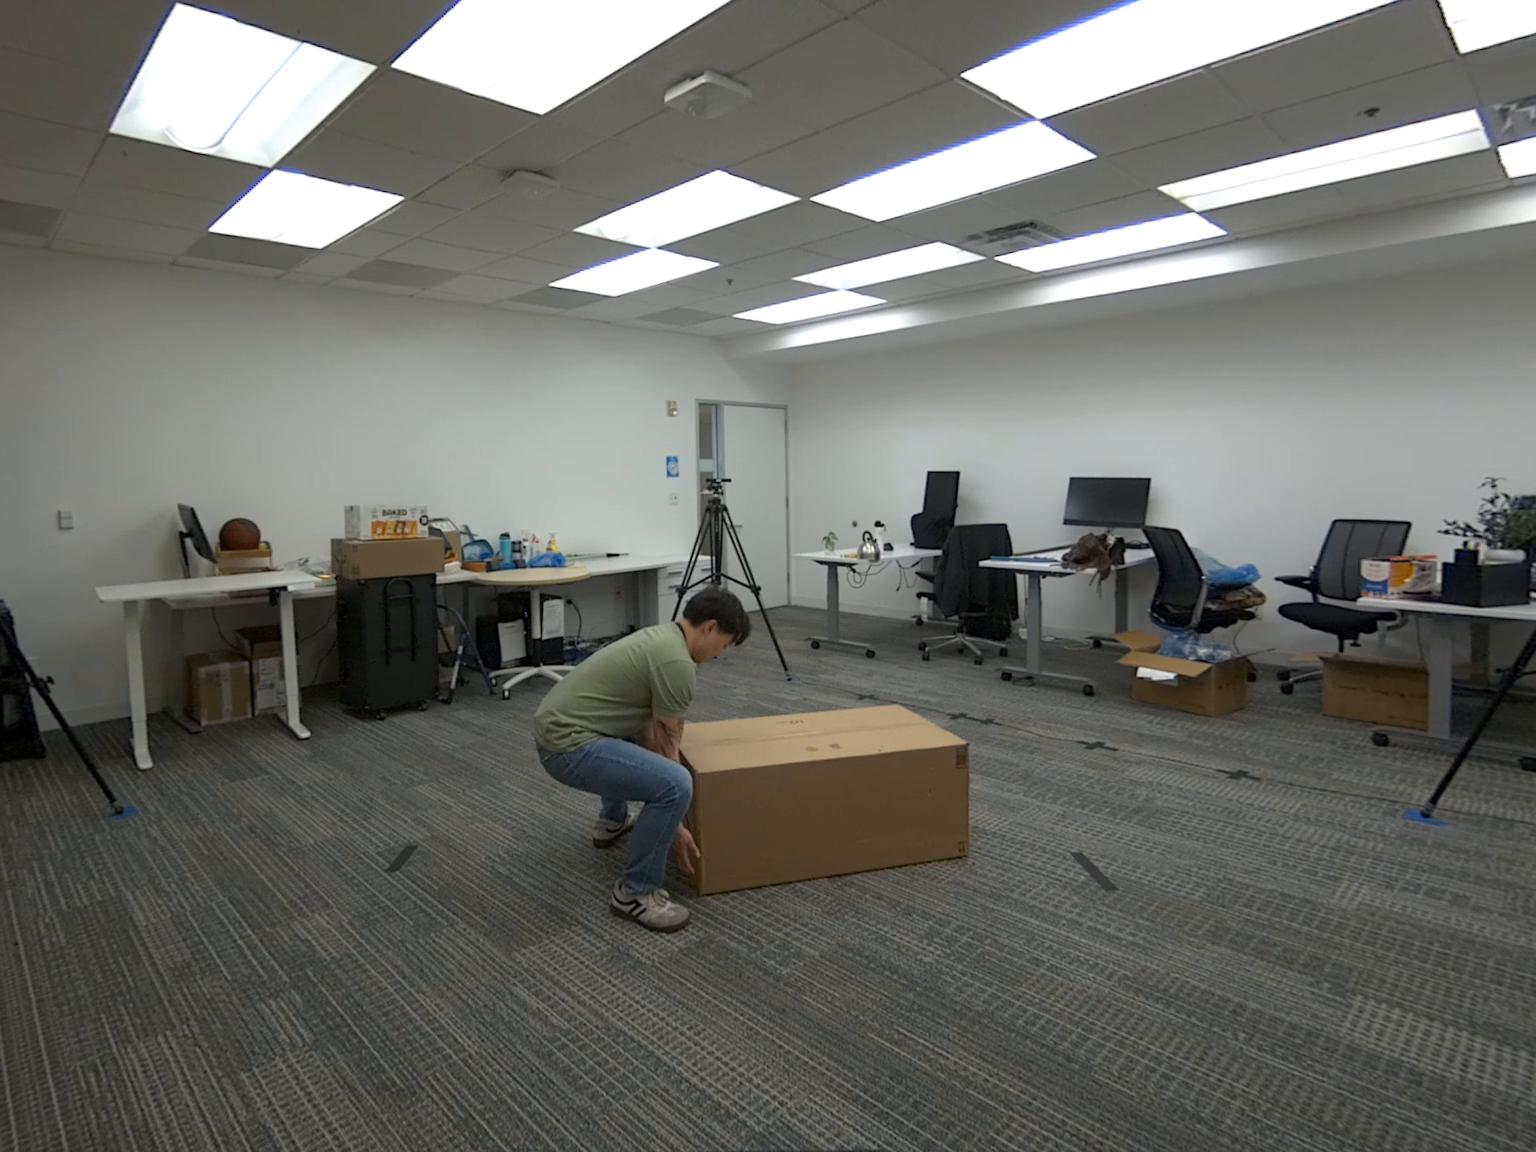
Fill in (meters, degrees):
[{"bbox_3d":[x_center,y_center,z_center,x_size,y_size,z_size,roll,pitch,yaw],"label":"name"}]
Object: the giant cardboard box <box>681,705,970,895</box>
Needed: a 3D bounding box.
[{"bbox_3d":[0.164,0.810,3.252,1.011,0.424,0.588,-3,5,-16],"label":"giant cardboard box"}]
